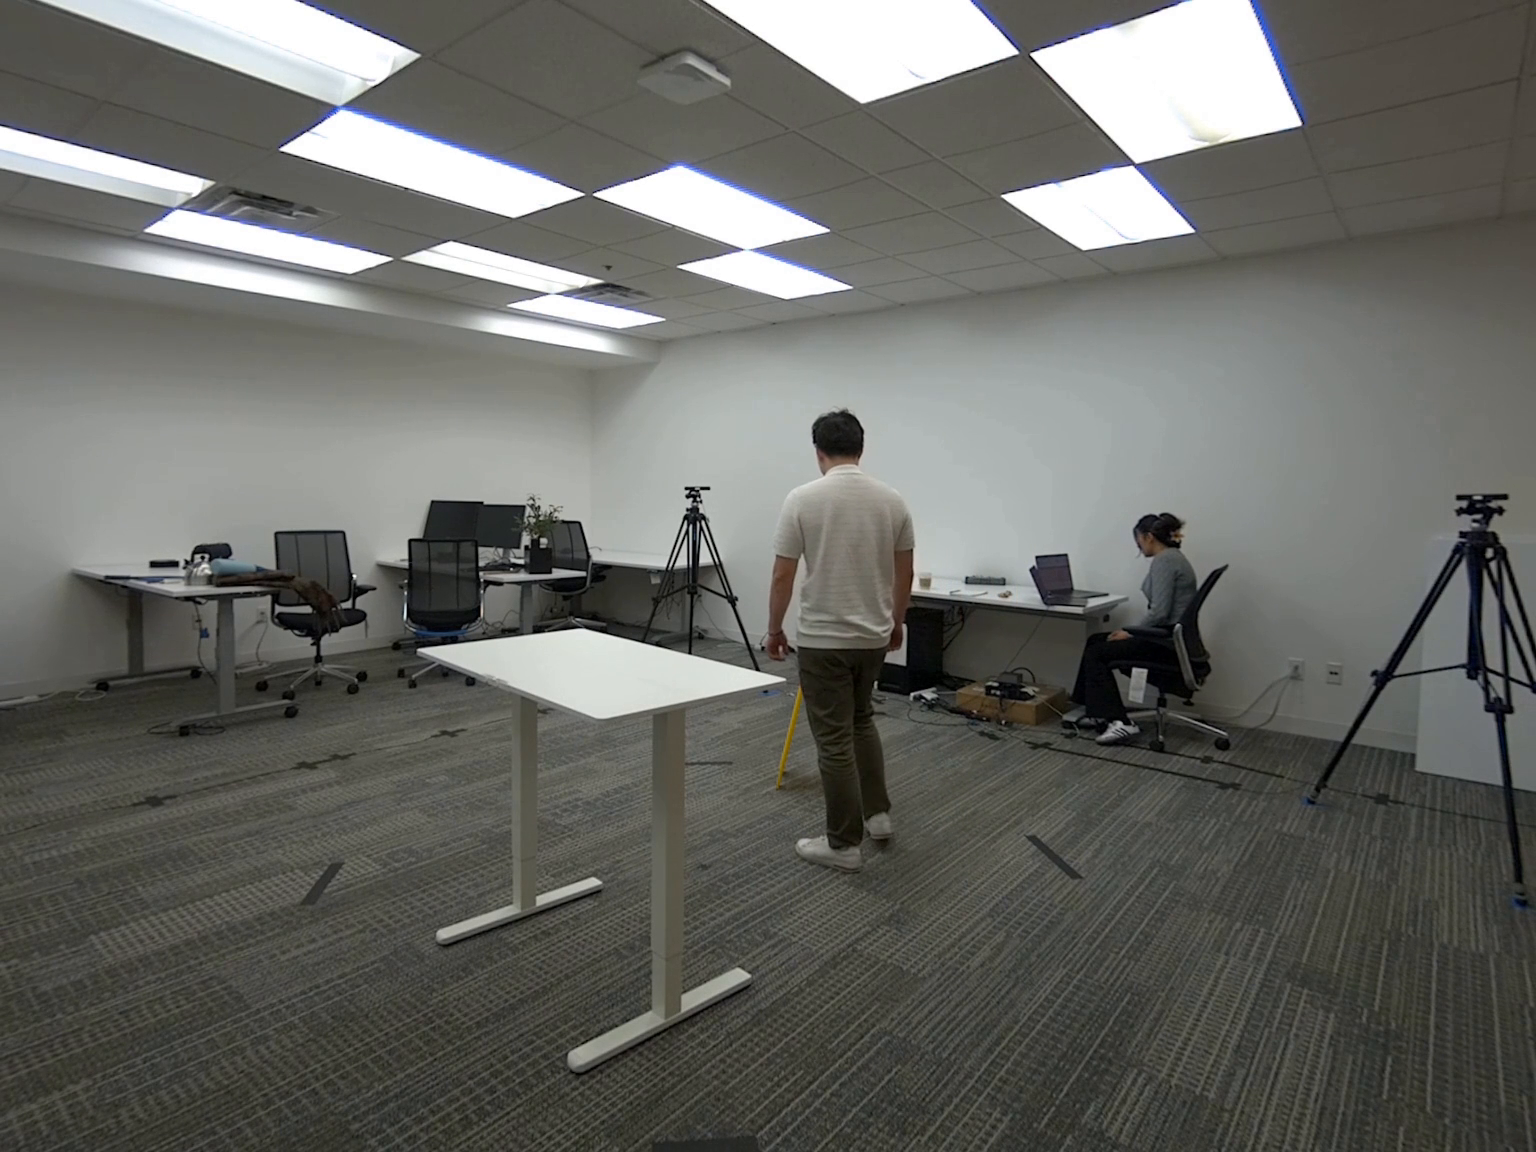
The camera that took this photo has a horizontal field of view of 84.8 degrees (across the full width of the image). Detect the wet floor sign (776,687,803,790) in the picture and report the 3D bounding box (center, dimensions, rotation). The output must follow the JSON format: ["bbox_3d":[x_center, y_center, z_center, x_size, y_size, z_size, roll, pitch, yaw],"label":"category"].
[{"bbox_3d":[0.197,0.652,4.036,0.292,0.643,0.281,1,4,7],"label":"wet floor sign"}]
